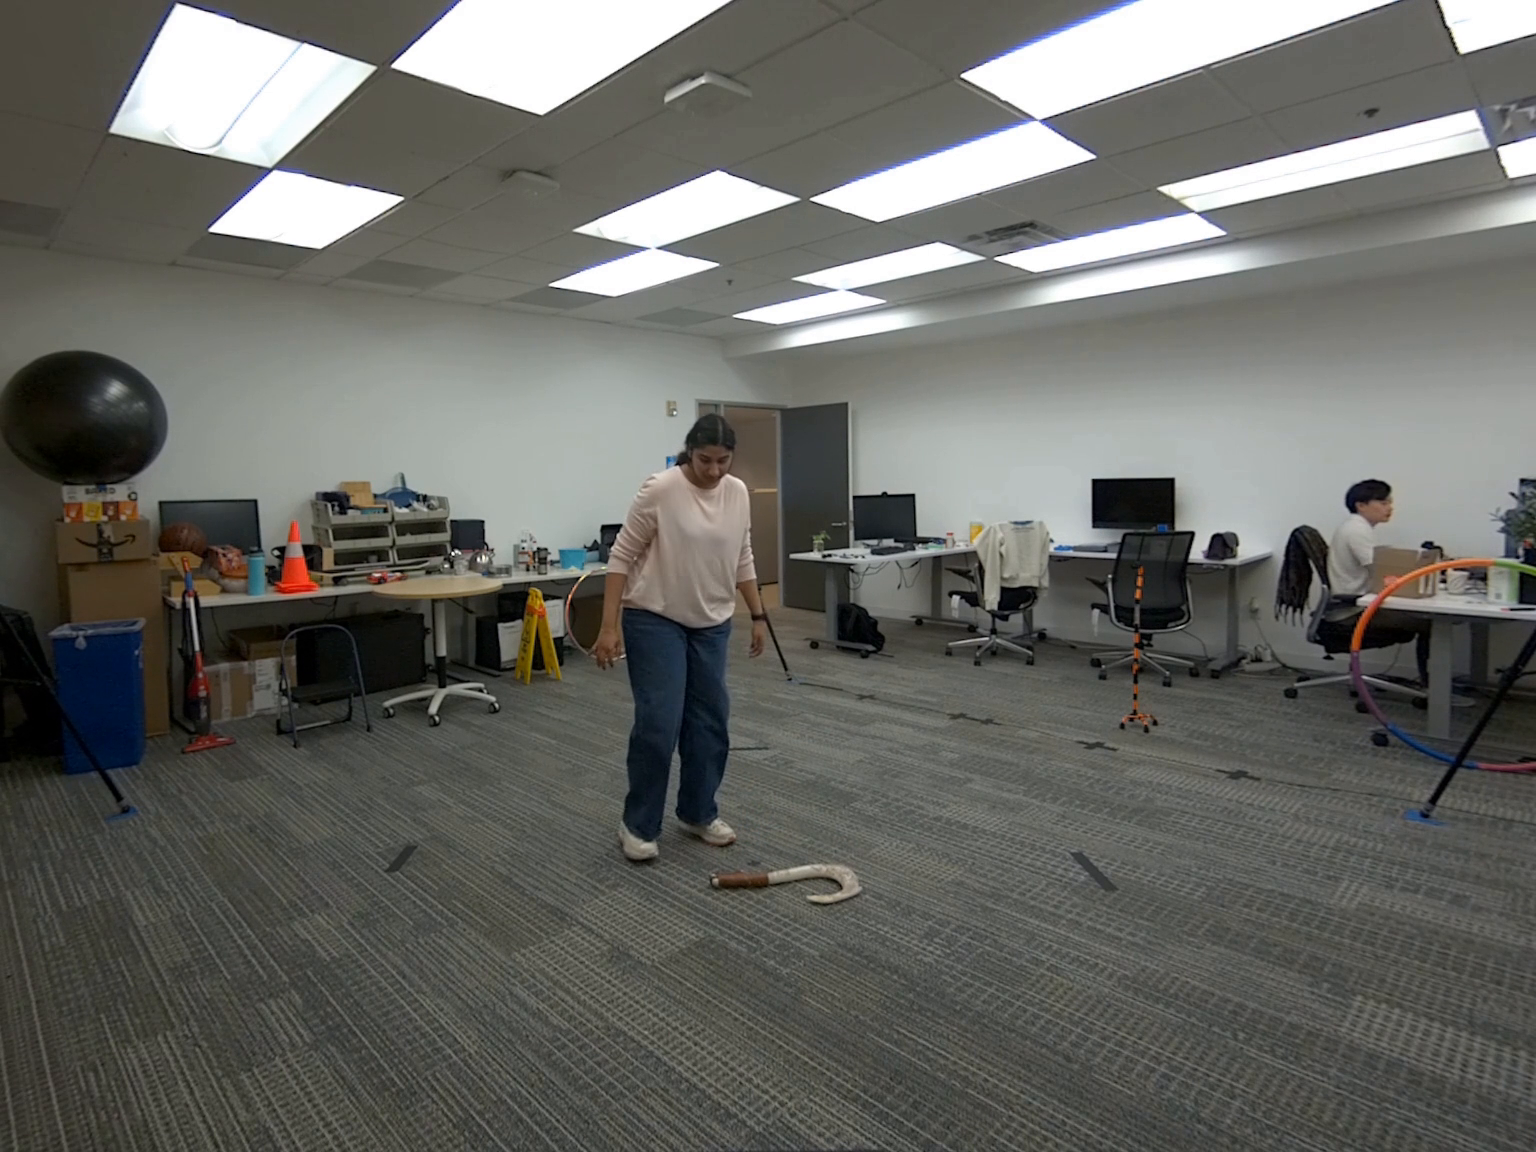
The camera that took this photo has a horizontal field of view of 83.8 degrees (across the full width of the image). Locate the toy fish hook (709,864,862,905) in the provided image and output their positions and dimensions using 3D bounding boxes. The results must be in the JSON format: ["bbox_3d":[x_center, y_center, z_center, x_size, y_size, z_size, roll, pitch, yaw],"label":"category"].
[{"bbox_3d":[0.055,1.043,2.892,0.504,0.048,0.226,-2,5,-5],"label":"toy fish hook"}]
